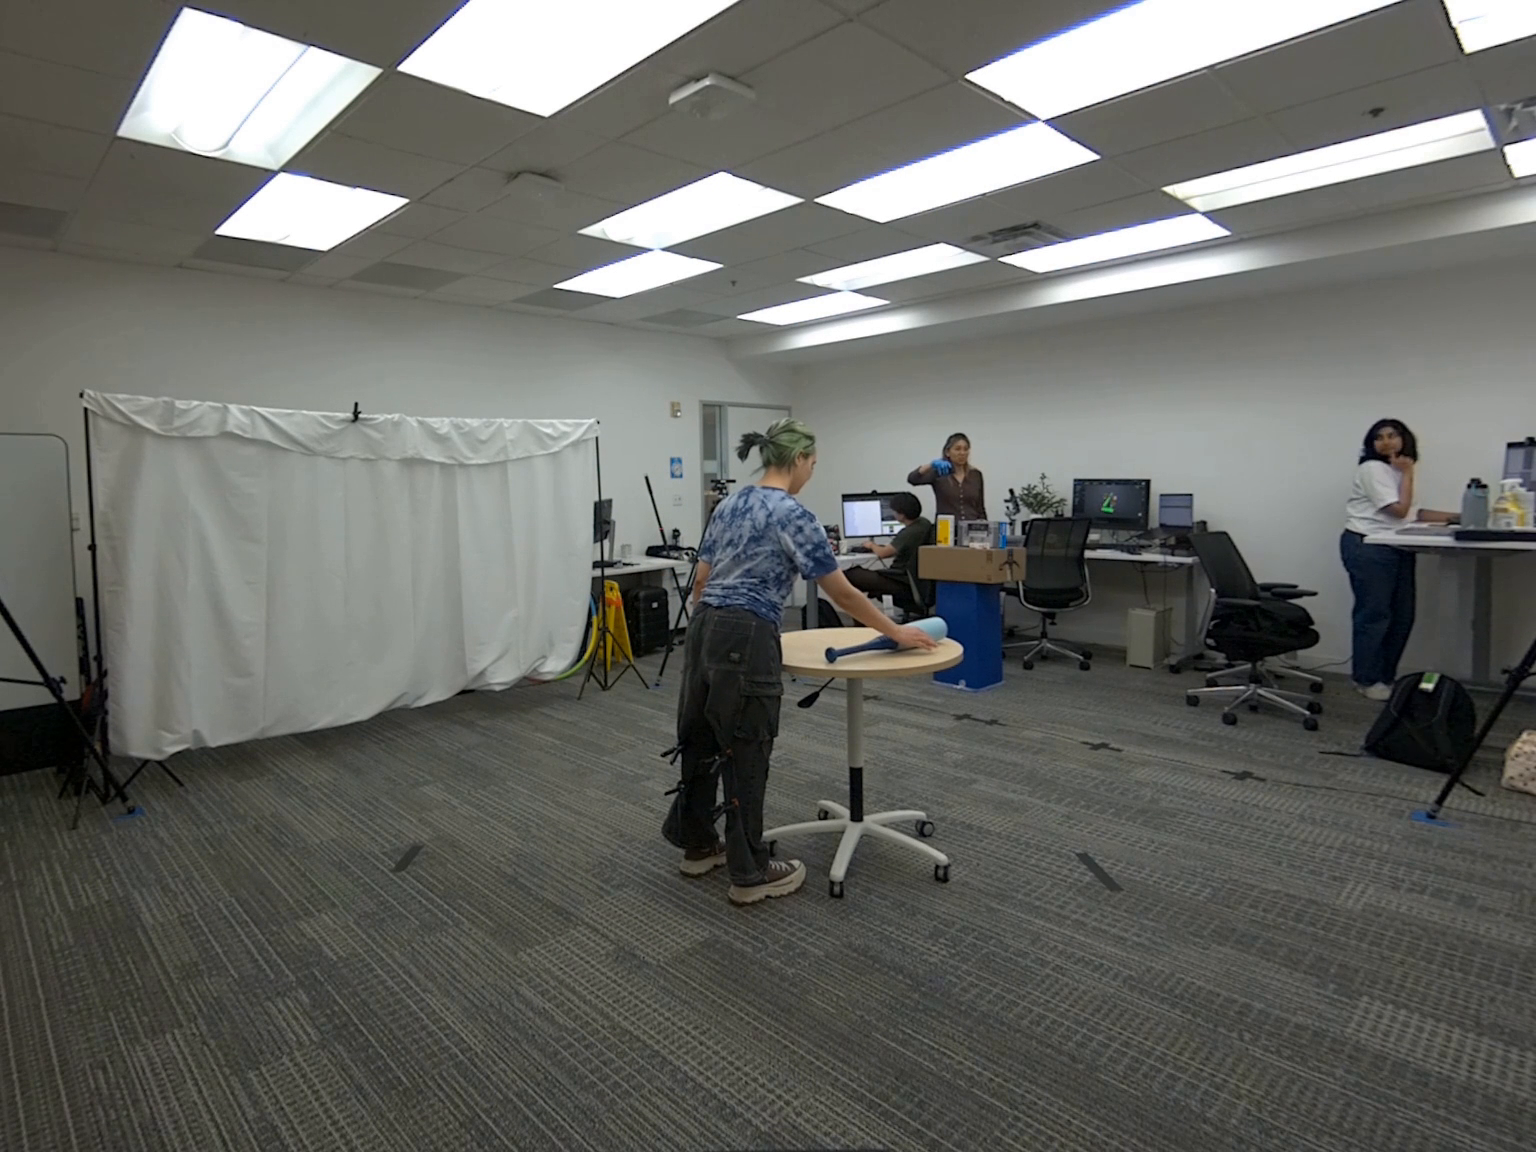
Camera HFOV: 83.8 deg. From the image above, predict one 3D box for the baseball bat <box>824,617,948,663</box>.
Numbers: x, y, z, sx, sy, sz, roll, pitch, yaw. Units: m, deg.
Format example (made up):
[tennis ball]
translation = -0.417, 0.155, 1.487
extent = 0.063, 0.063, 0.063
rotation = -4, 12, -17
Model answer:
[baseball bat]
translation = 0.421, 0.235, 2.976
extent = 0.531, 0.088, 0.092
rotation = -11, 10, -35
